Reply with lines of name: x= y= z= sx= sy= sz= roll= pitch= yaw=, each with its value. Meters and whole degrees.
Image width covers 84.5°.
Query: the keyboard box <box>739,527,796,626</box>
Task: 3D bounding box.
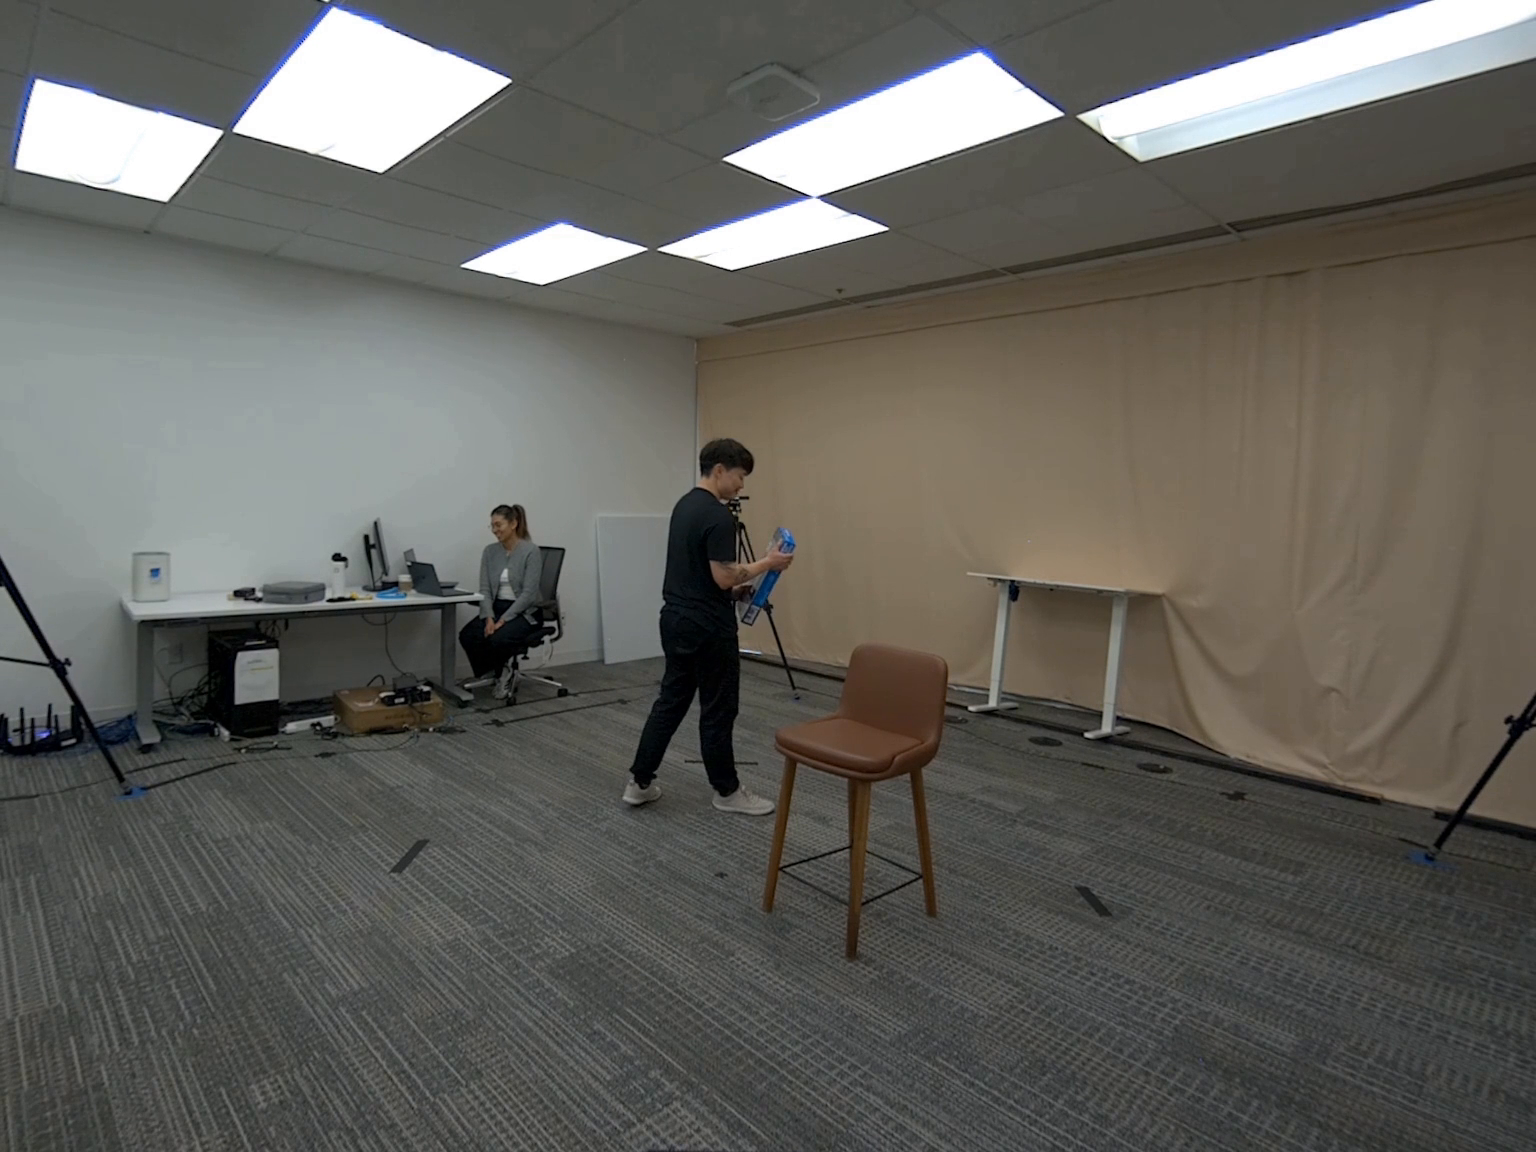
keyboard box: x=-0.026 y=-0.002 z=3.821 sx=0.058 sy=0.434 sz=0.179 roll=22 pitch=18 yaw=-16
